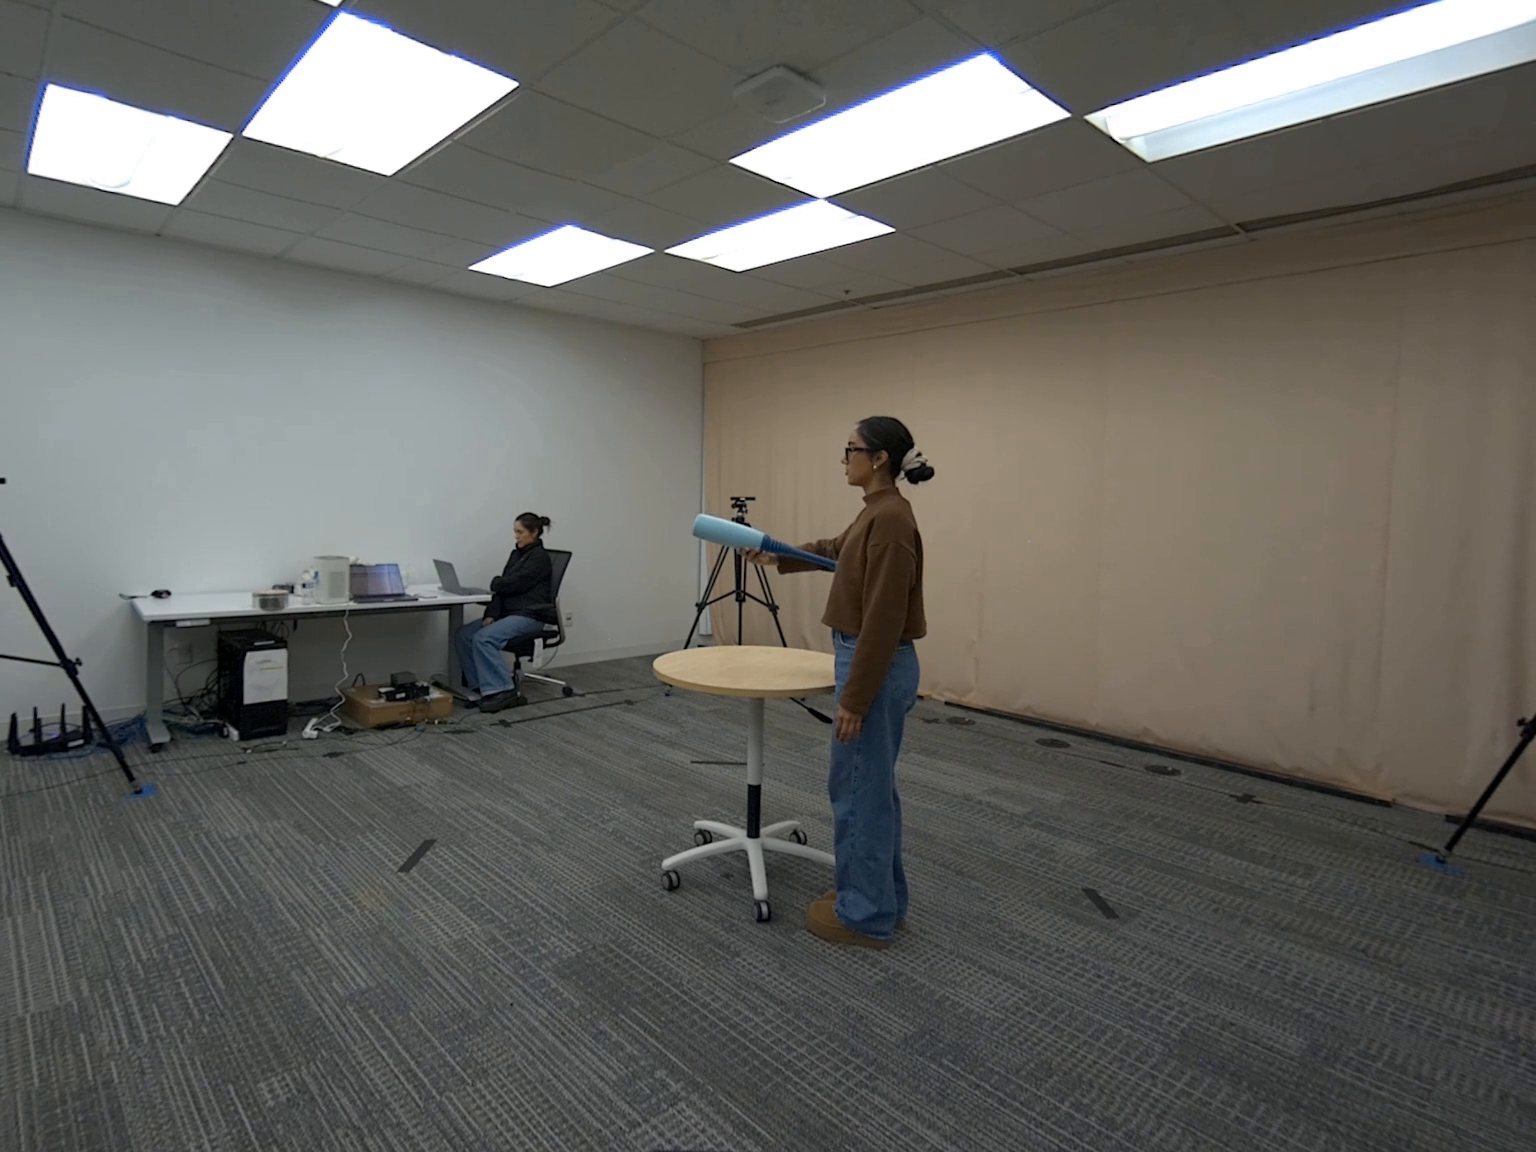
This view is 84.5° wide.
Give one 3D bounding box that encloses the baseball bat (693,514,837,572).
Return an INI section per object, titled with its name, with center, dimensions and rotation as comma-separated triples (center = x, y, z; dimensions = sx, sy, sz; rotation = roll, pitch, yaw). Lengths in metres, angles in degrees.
[baseball bat]
center = -0.003, -0.104, 2.952
dimensions = 0.544, 0.089, 0.089
rotation = 16, 4, 2
